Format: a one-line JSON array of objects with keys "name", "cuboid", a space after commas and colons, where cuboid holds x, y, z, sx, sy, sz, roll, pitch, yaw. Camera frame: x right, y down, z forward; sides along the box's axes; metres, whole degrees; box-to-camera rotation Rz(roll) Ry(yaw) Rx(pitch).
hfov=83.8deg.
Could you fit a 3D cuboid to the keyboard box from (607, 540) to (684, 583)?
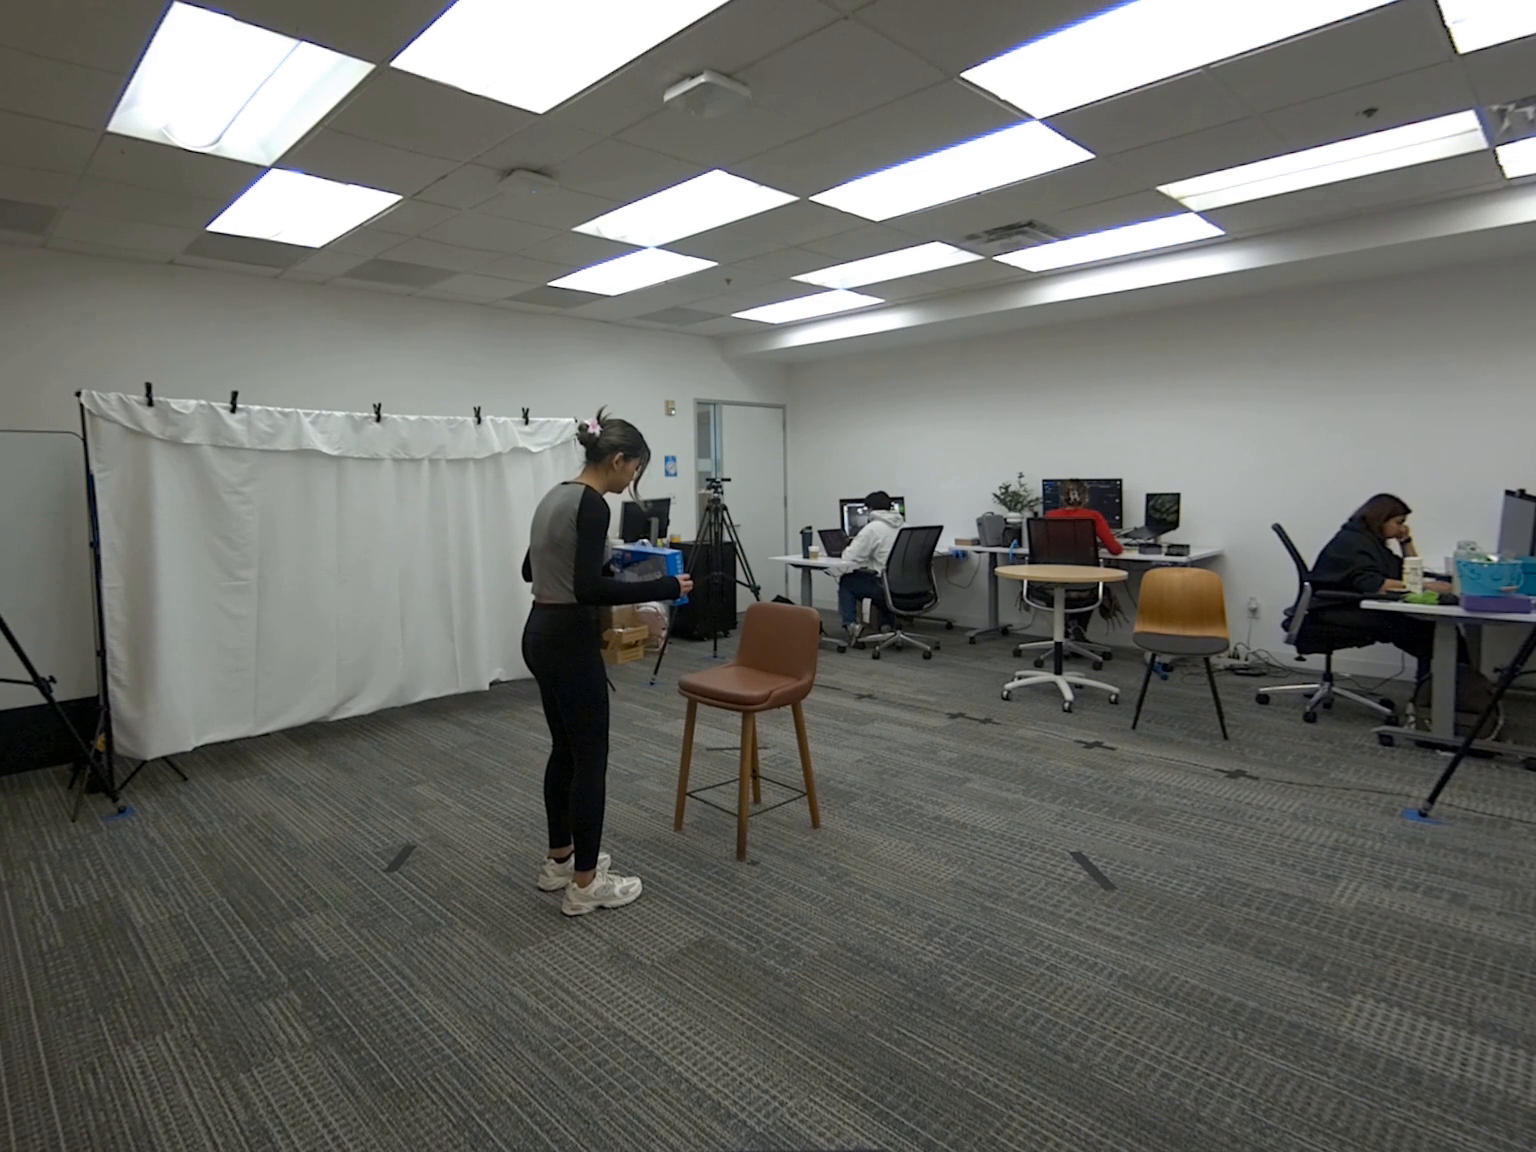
[{"name": "keyboard box", "cuboid": [-0.415, -0.007, 2.947, 0.058, 0.174, 0.449, -11, 10, -33]}]
